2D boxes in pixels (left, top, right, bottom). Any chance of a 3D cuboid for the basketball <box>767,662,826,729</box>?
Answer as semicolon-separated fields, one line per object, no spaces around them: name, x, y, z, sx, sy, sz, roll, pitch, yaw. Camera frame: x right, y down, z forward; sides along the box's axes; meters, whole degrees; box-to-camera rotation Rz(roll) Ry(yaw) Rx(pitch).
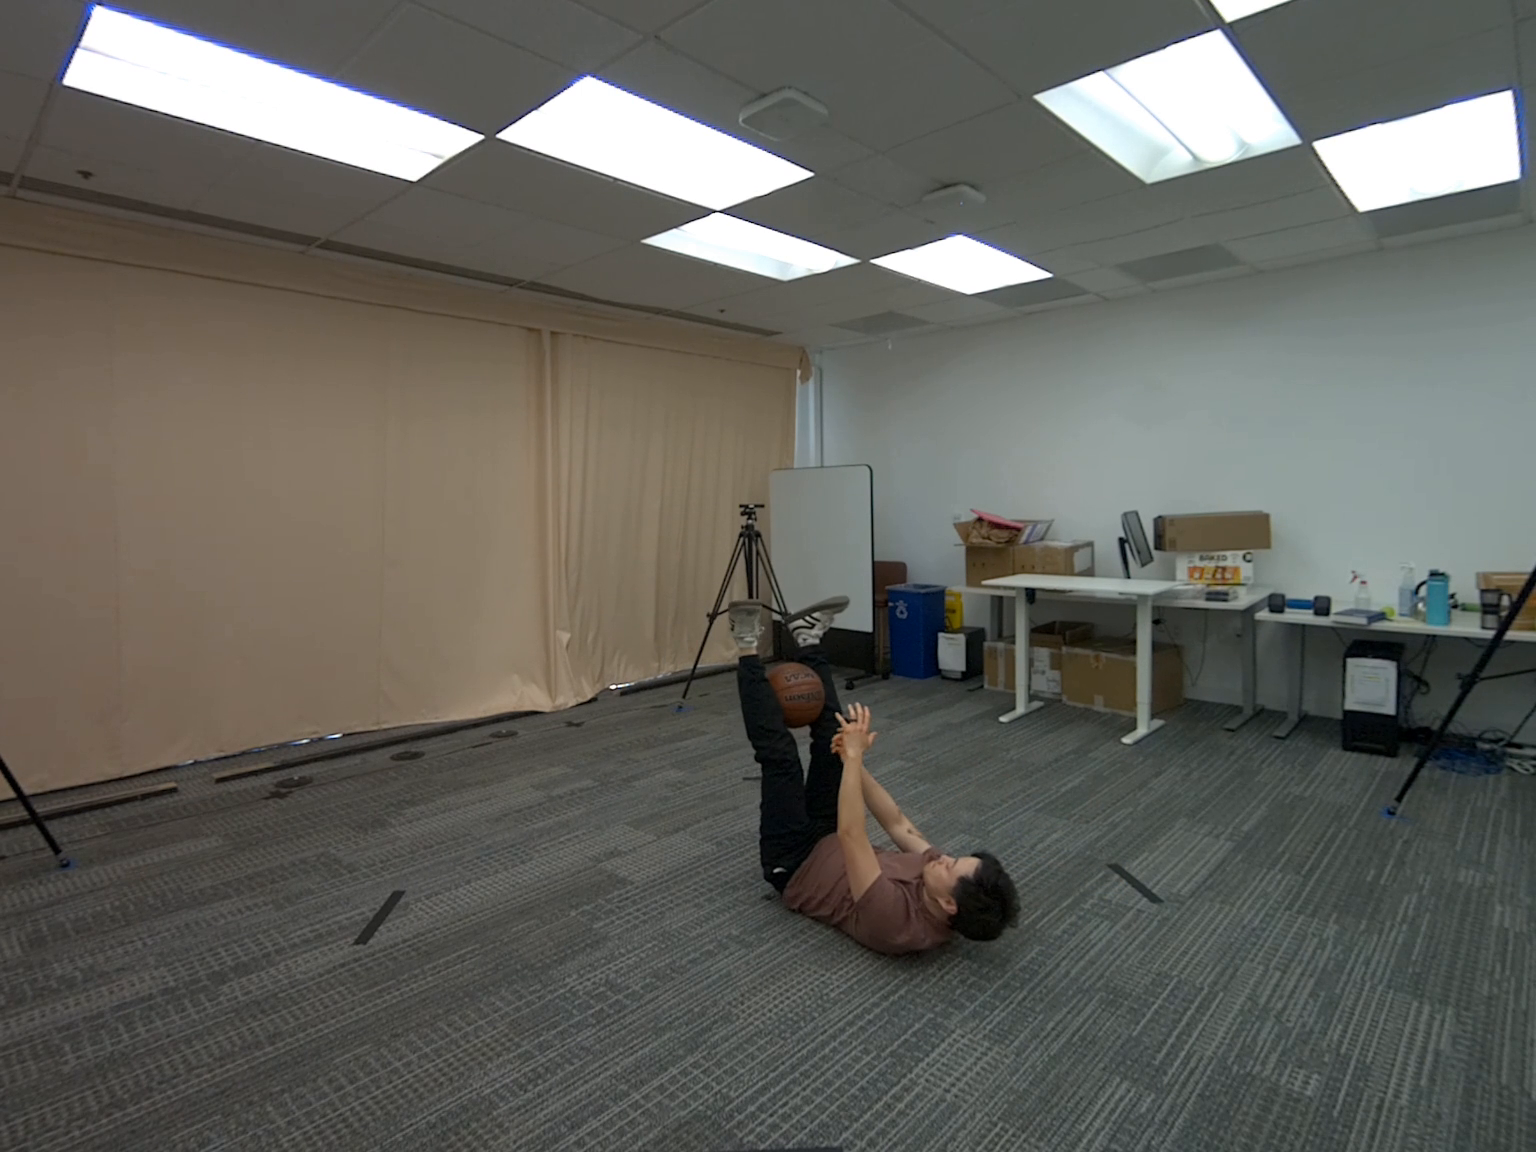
basketball;0.087;0.442;3.065;0.236;0.235;0.236;-1;3;-2
